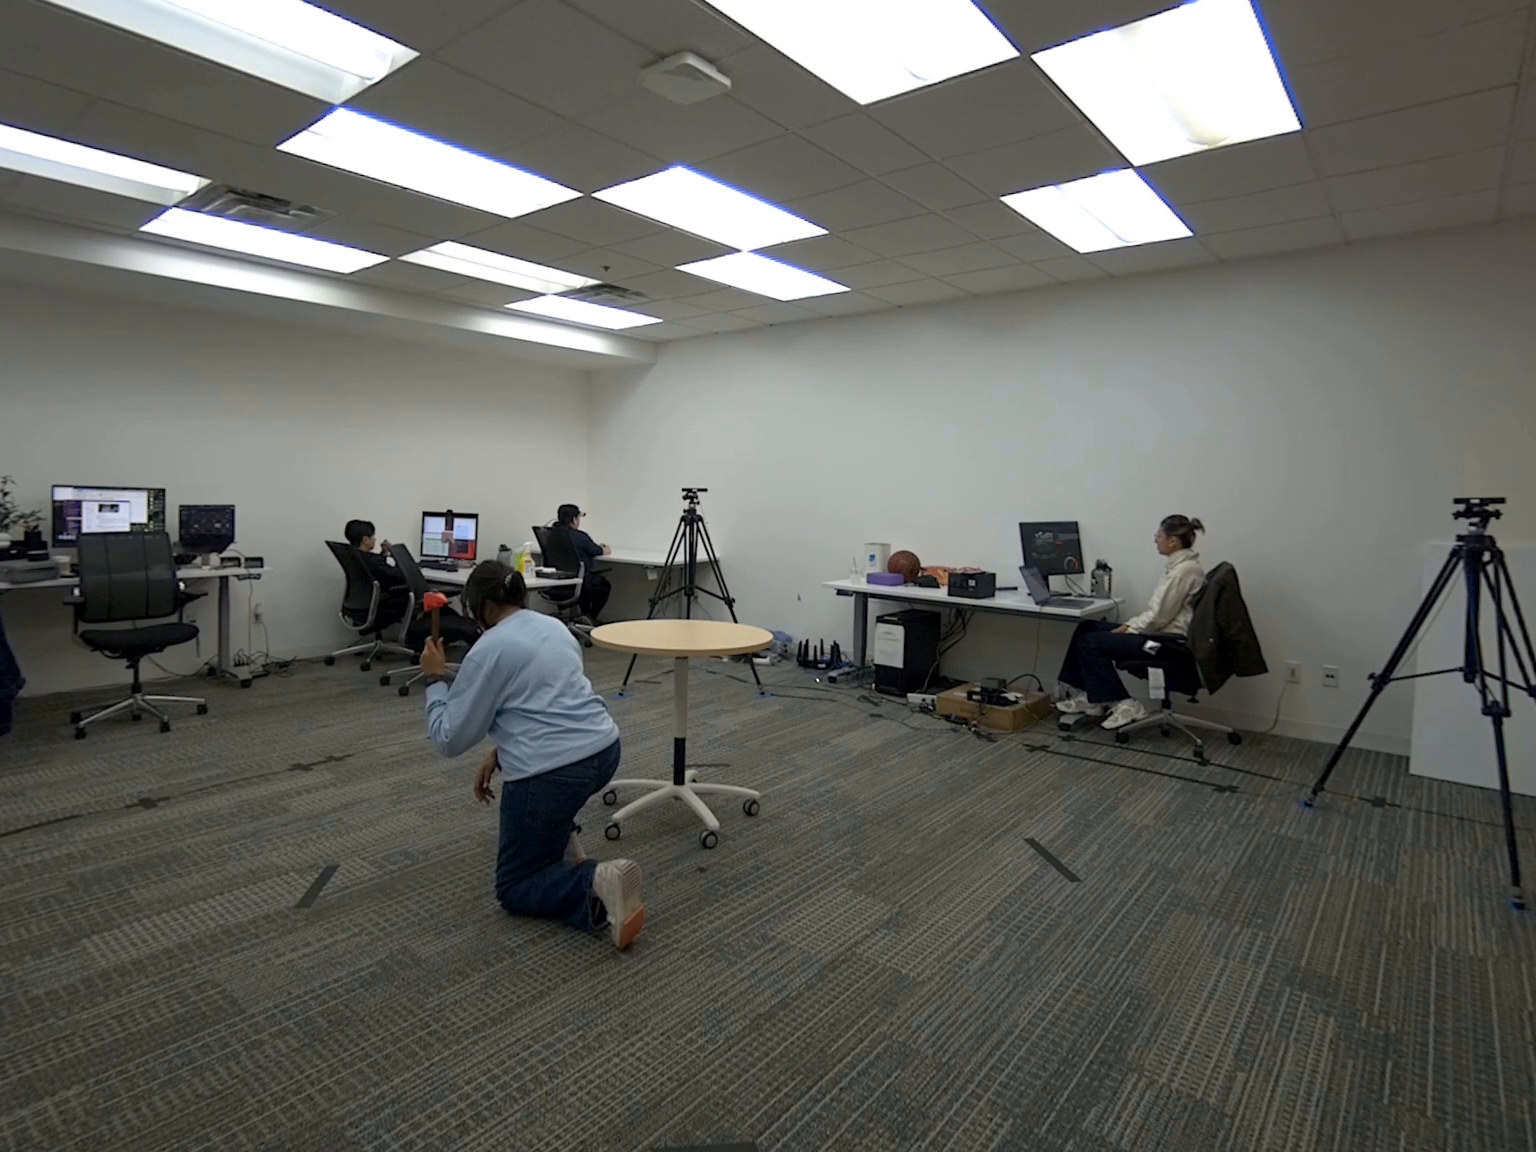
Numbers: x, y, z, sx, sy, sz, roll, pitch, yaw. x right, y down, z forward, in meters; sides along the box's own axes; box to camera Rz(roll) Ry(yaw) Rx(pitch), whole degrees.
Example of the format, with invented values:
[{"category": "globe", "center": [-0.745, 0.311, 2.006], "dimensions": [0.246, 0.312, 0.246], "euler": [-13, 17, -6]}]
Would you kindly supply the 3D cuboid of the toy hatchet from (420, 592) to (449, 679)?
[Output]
[{"category": "toy hatchet", "center": [-1.152, 0.168, 2.857], "dimensions": [0.135, 0.268, 0.029], "euler": [27, 15, 25]}]
